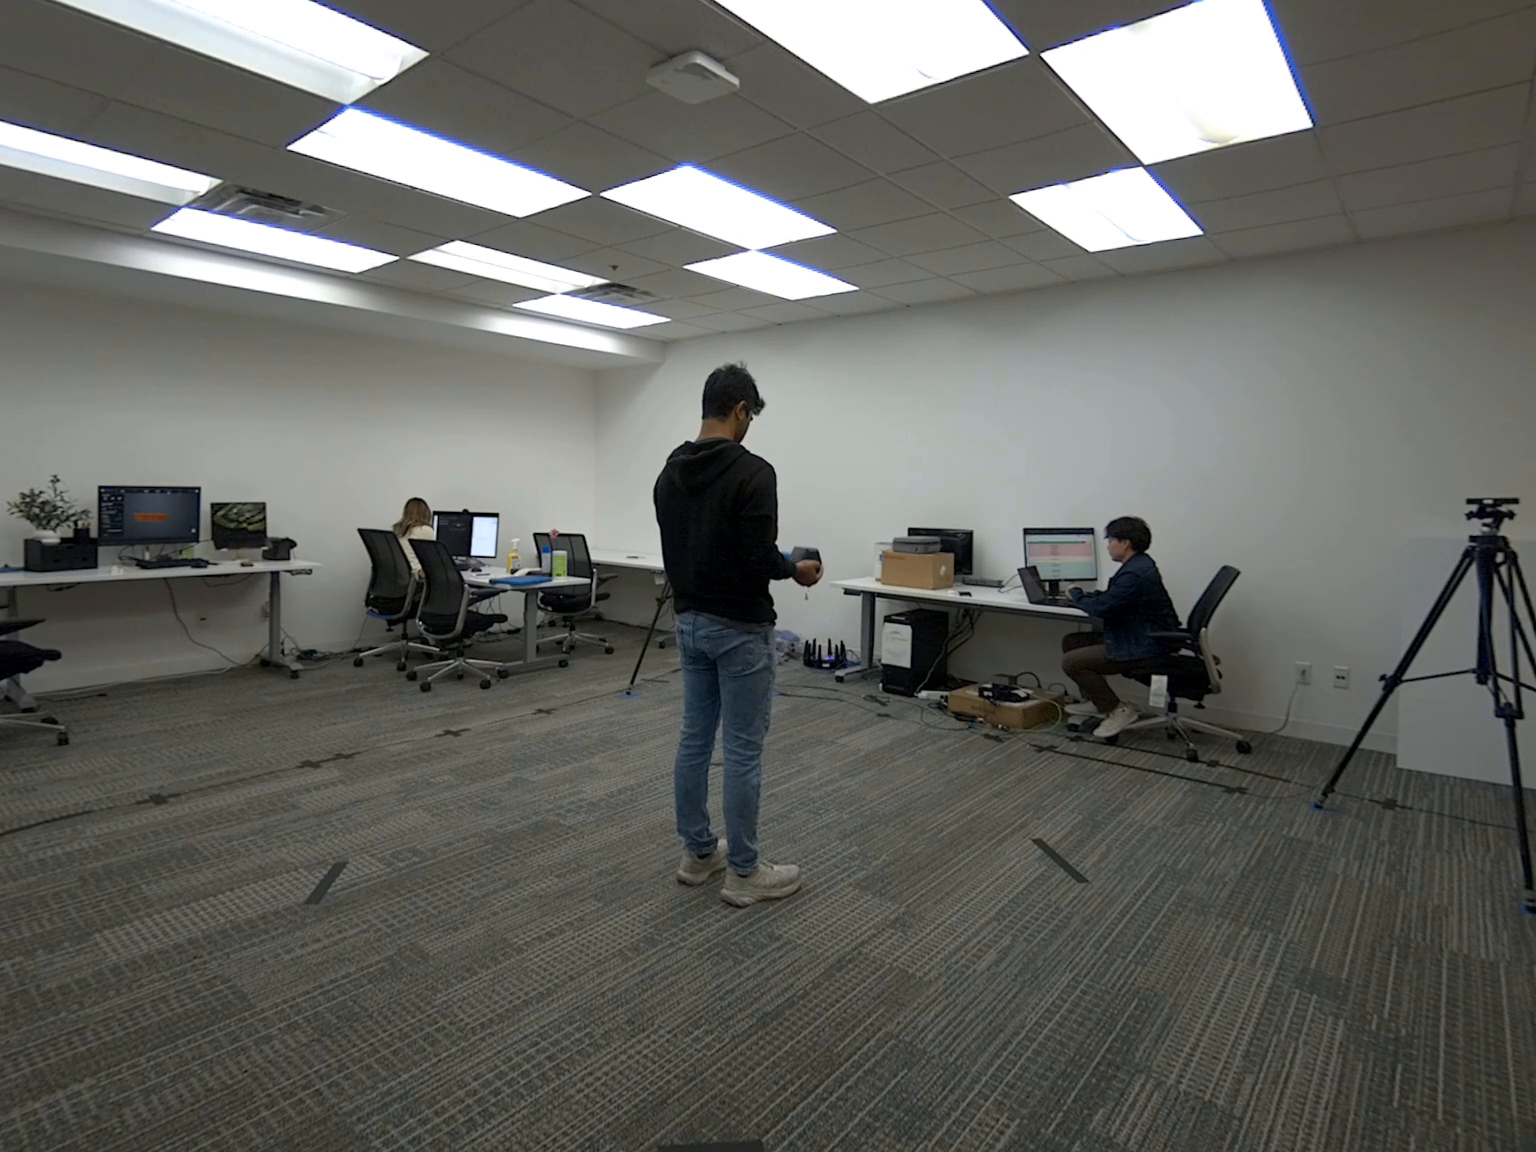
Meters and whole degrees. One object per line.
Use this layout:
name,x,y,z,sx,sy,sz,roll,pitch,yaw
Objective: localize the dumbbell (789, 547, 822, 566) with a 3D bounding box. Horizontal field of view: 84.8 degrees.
dumbbell,0.040,-0.065,3.127,0.304,0.119,0.108,9,37,45
